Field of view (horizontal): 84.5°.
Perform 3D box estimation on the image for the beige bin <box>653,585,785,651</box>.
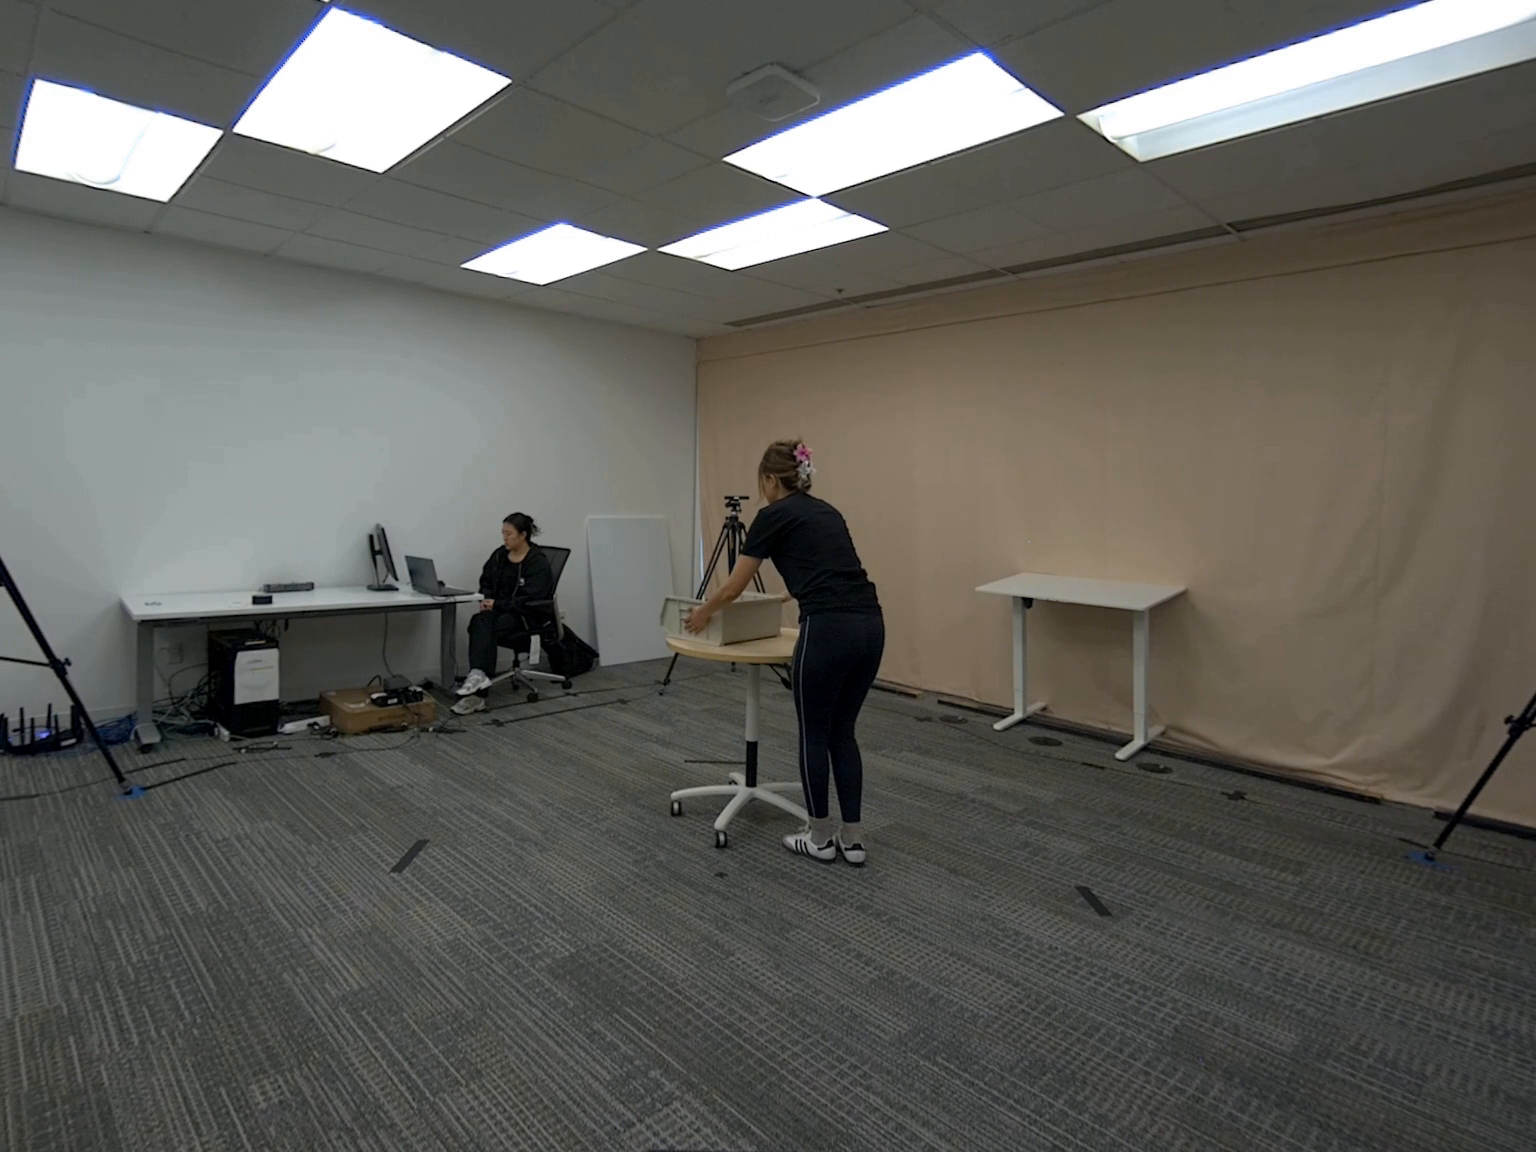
[{"bbox_3d":[-0.214,0.172,3.710,0.387,0.188,0.413,10,8,38],"label":"beige bin"}]
